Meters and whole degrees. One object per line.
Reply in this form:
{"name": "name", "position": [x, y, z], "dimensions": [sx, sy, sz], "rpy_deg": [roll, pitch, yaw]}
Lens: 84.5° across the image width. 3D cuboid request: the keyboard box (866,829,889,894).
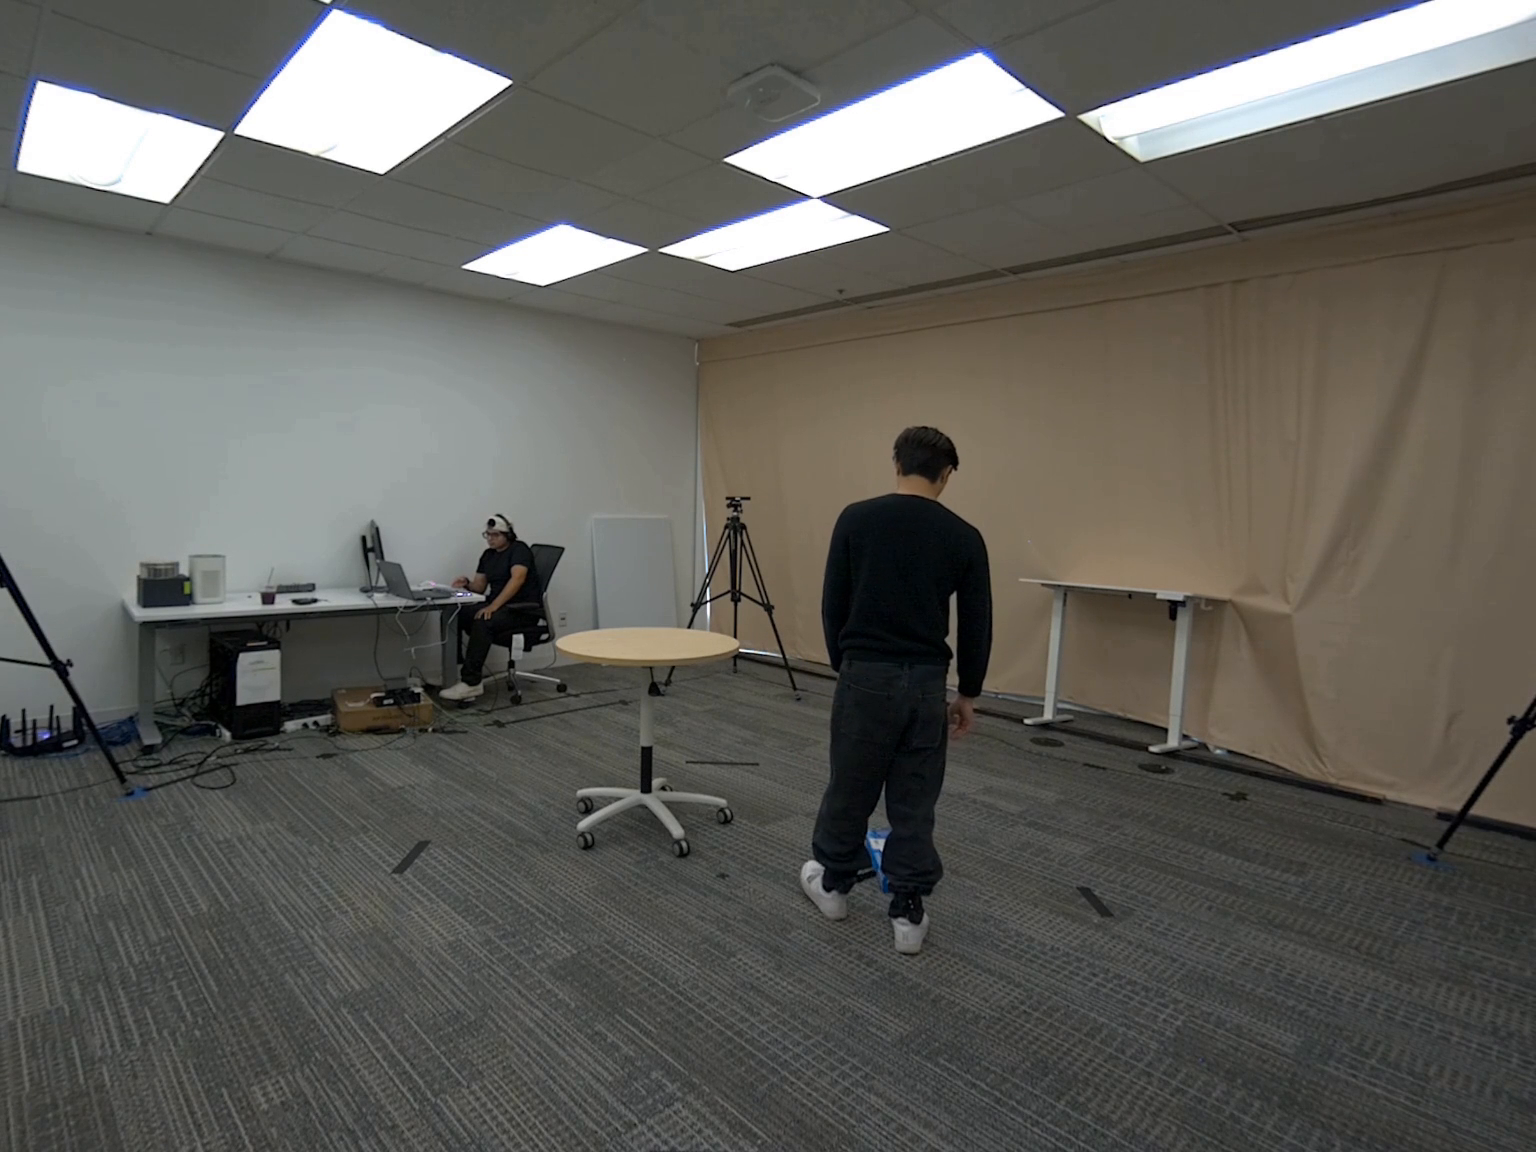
{"name": "keyboard box", "position": [0.479, 1.087, 3.226], "dimensions": [0.176, 0.059, 0.439], "rpy_deg": [1, 5, -3]}
